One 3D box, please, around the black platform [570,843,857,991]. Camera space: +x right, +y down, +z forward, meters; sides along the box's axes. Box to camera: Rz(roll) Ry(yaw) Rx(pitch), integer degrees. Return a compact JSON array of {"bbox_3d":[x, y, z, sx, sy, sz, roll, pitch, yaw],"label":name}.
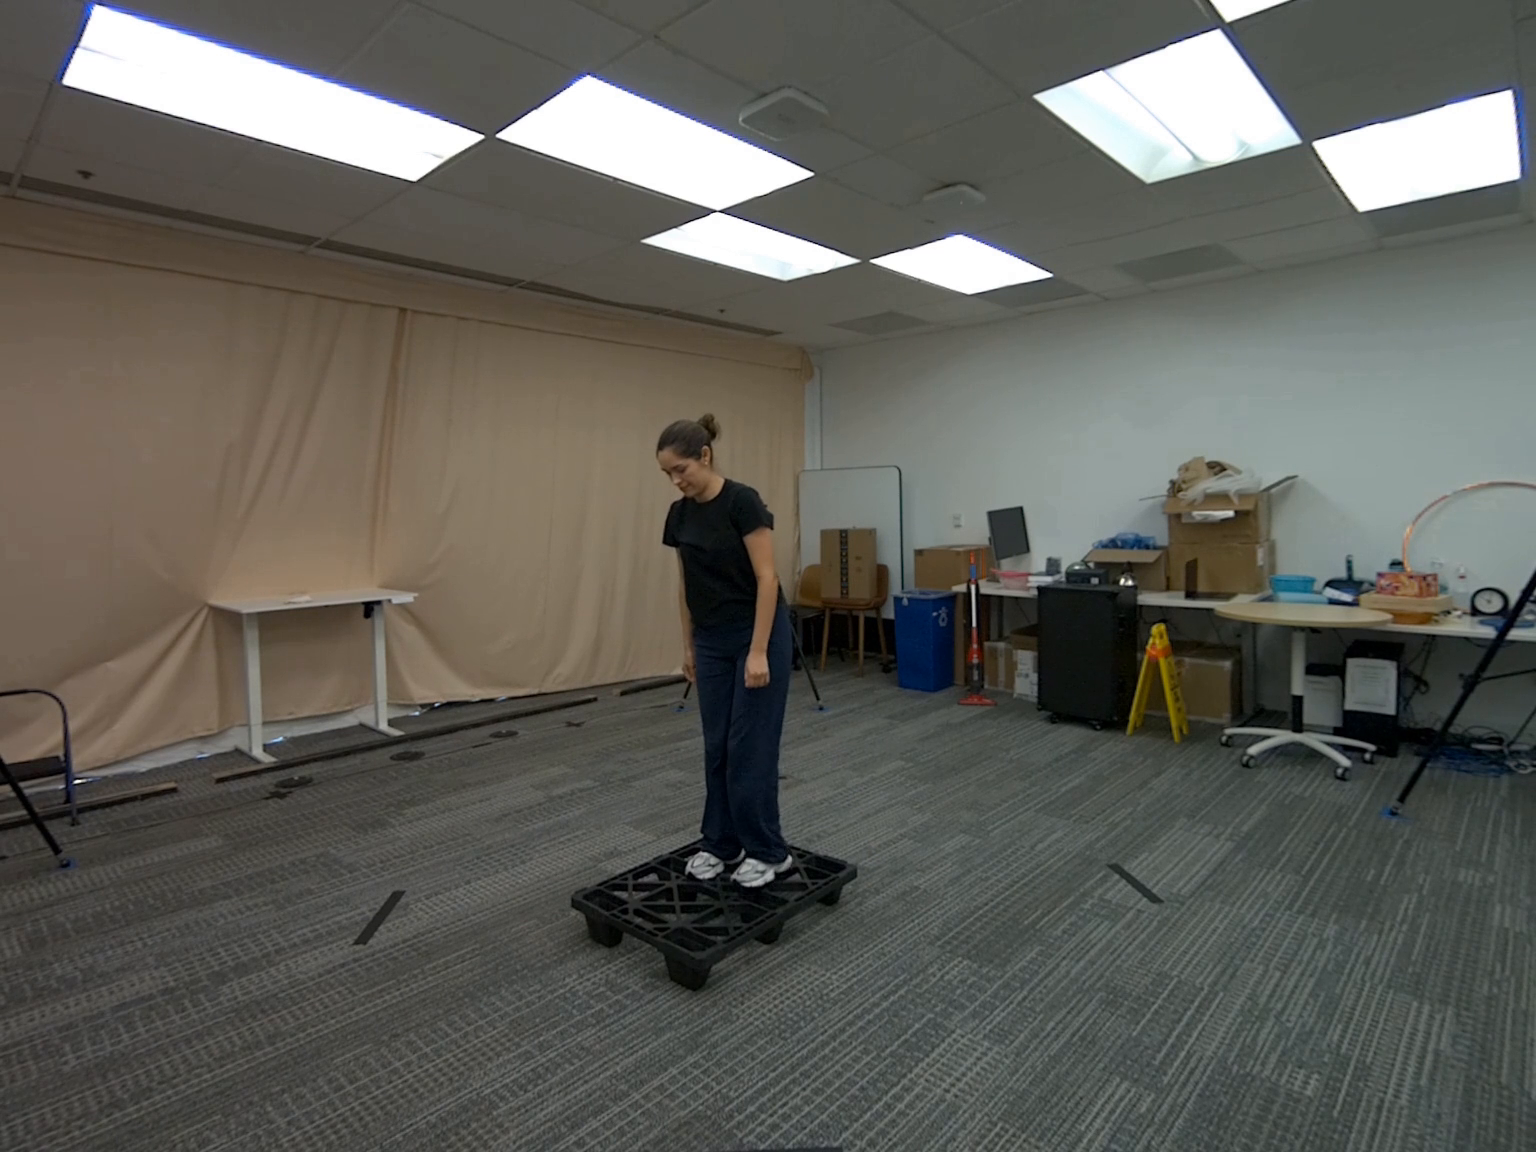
[{"bbox_3d":[-0.156,1.086,2.835,0.625,0.143,0.781,3,6,41],"label":"black platform"}]
